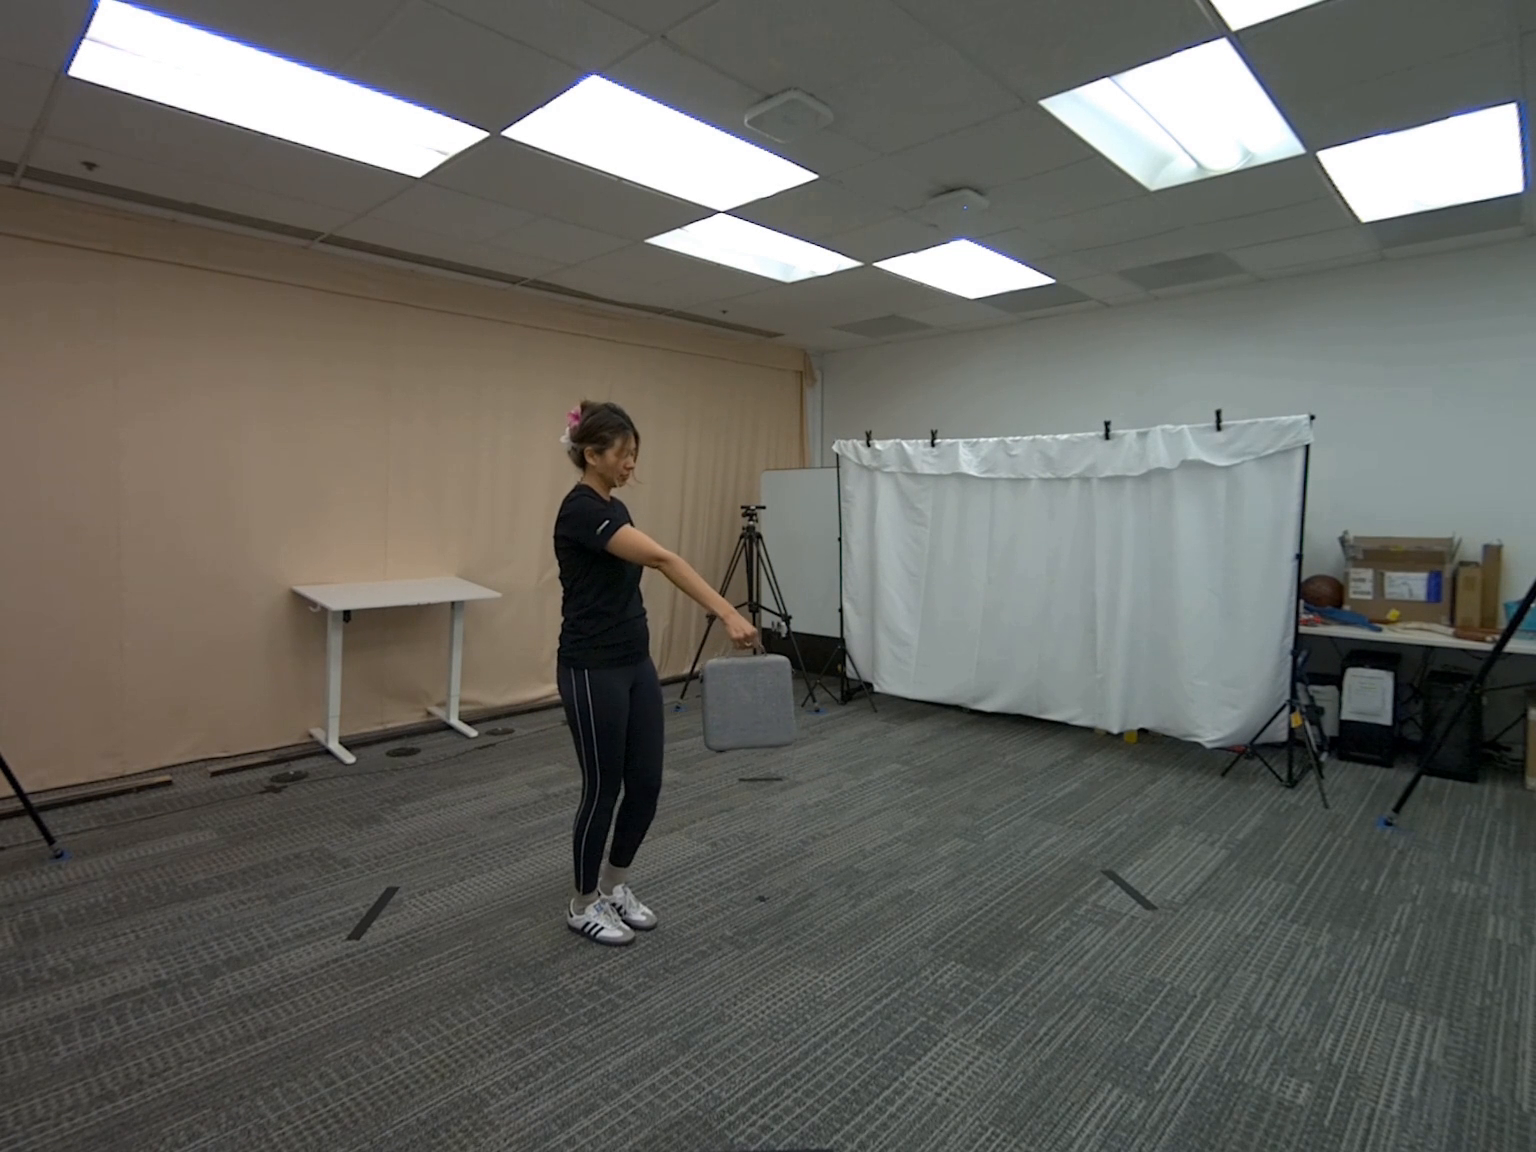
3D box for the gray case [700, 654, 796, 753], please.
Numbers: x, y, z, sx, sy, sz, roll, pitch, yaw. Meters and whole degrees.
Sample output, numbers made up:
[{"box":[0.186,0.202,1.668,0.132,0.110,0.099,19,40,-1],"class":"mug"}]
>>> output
[{"box":[-0.045,0.356,2.346,0.254,0.262,0.105,-5,-6,-10],"class":"gray case"}]
